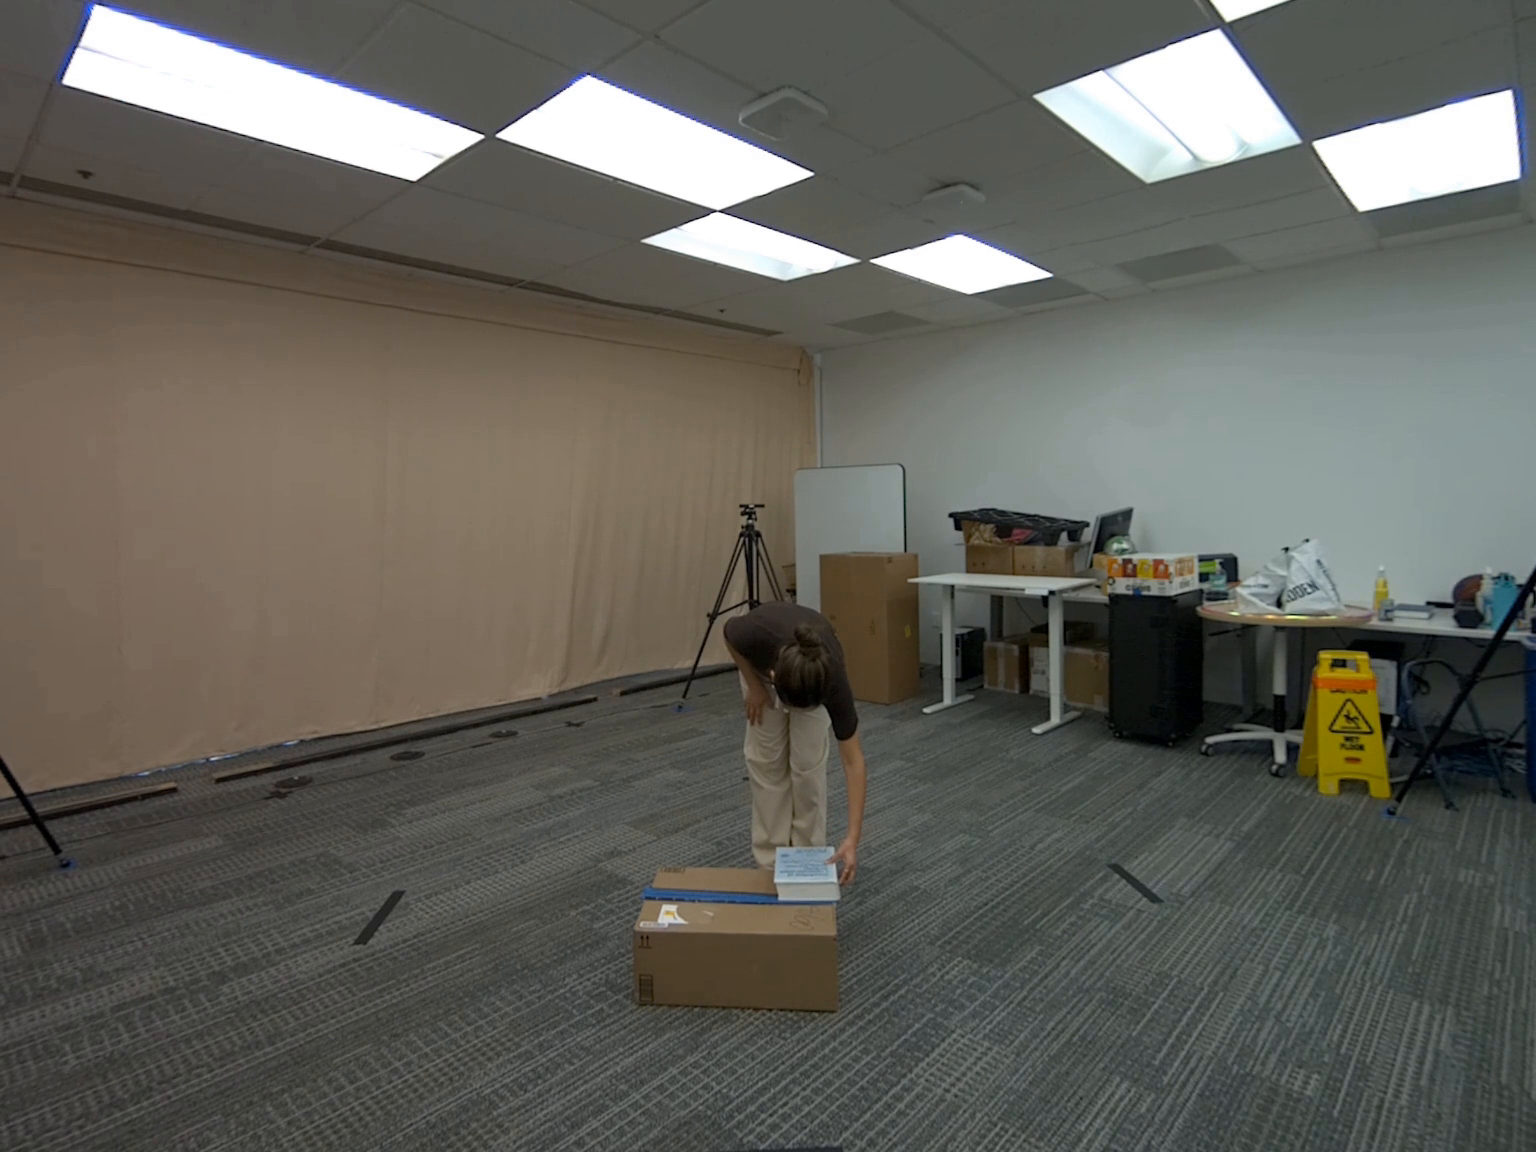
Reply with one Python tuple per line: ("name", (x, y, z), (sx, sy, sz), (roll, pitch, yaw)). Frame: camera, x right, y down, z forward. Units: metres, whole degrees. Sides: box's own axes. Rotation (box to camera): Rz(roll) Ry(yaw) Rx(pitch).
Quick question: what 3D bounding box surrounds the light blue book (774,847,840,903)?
("light blue book", (0.111, 0.917, 2.629), (0.192, 0.059, 0.260), (-3, 4, 3))
